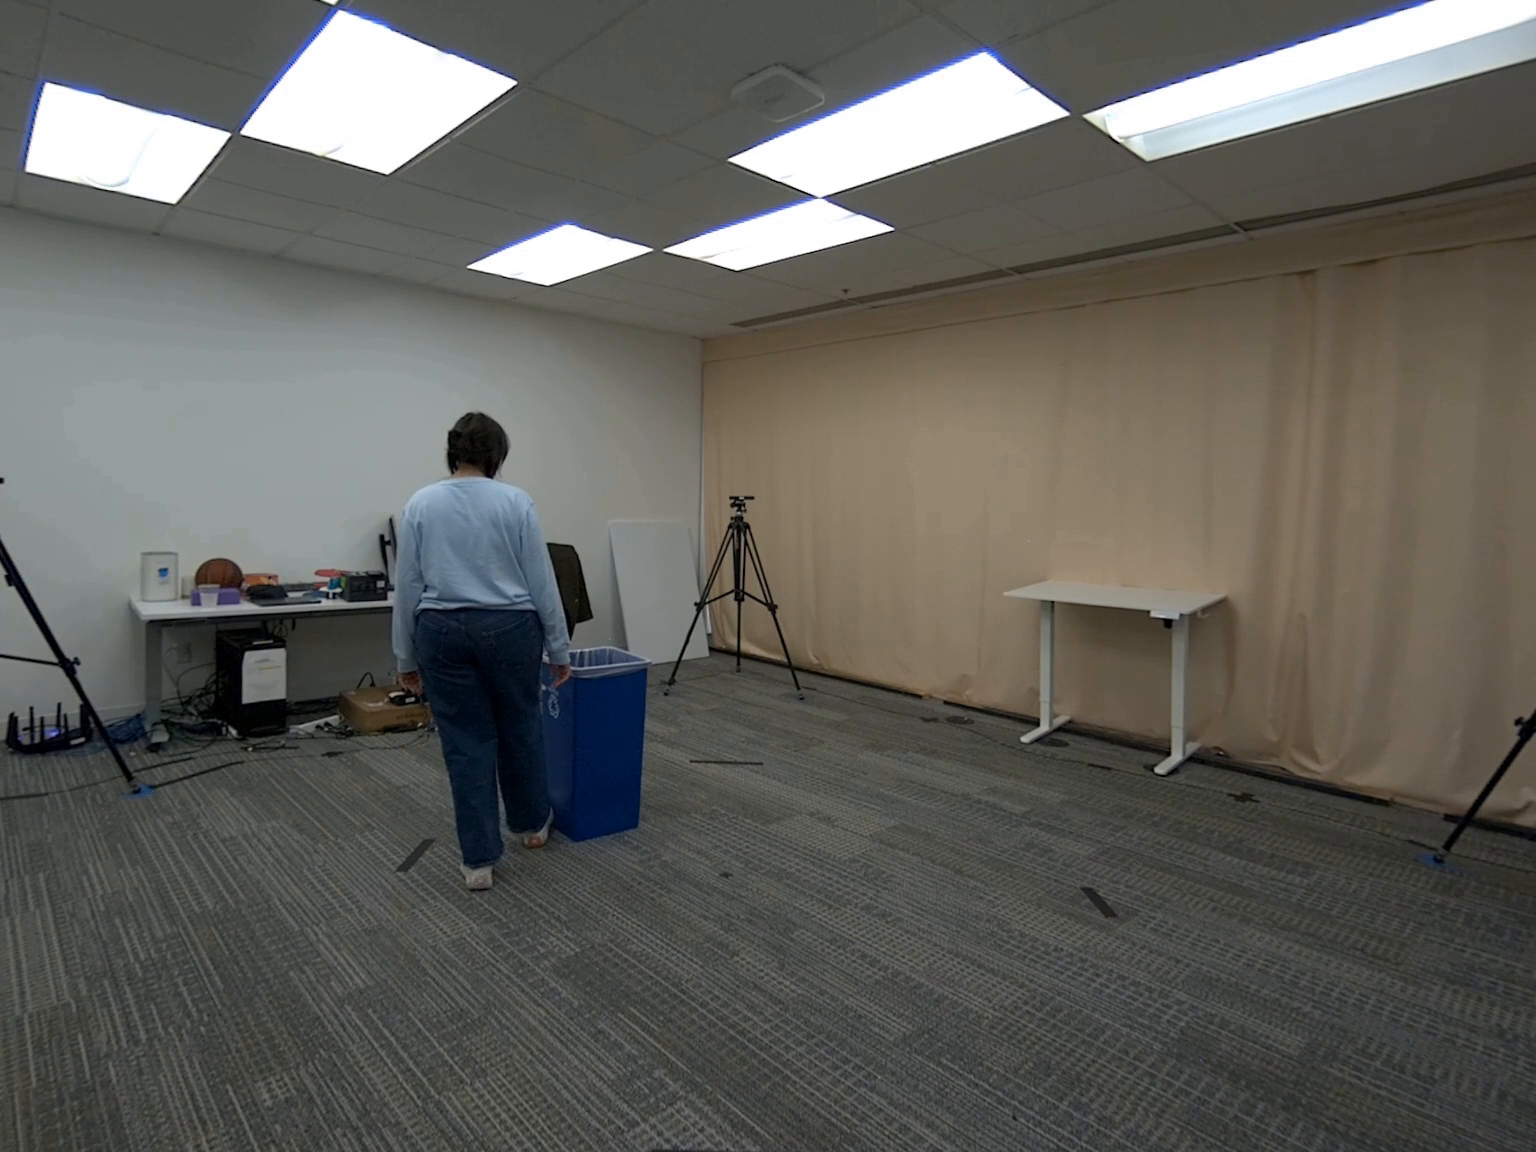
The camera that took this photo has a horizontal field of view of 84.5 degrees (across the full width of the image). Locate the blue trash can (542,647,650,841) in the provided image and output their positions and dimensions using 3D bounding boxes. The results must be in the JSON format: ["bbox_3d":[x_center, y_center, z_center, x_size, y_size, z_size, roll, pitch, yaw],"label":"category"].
[{"bbox_3d":[-0.746,0.696,3.547,0.365,0.712,0.388,-1,5,-38],"label":"blue trash can"}]
